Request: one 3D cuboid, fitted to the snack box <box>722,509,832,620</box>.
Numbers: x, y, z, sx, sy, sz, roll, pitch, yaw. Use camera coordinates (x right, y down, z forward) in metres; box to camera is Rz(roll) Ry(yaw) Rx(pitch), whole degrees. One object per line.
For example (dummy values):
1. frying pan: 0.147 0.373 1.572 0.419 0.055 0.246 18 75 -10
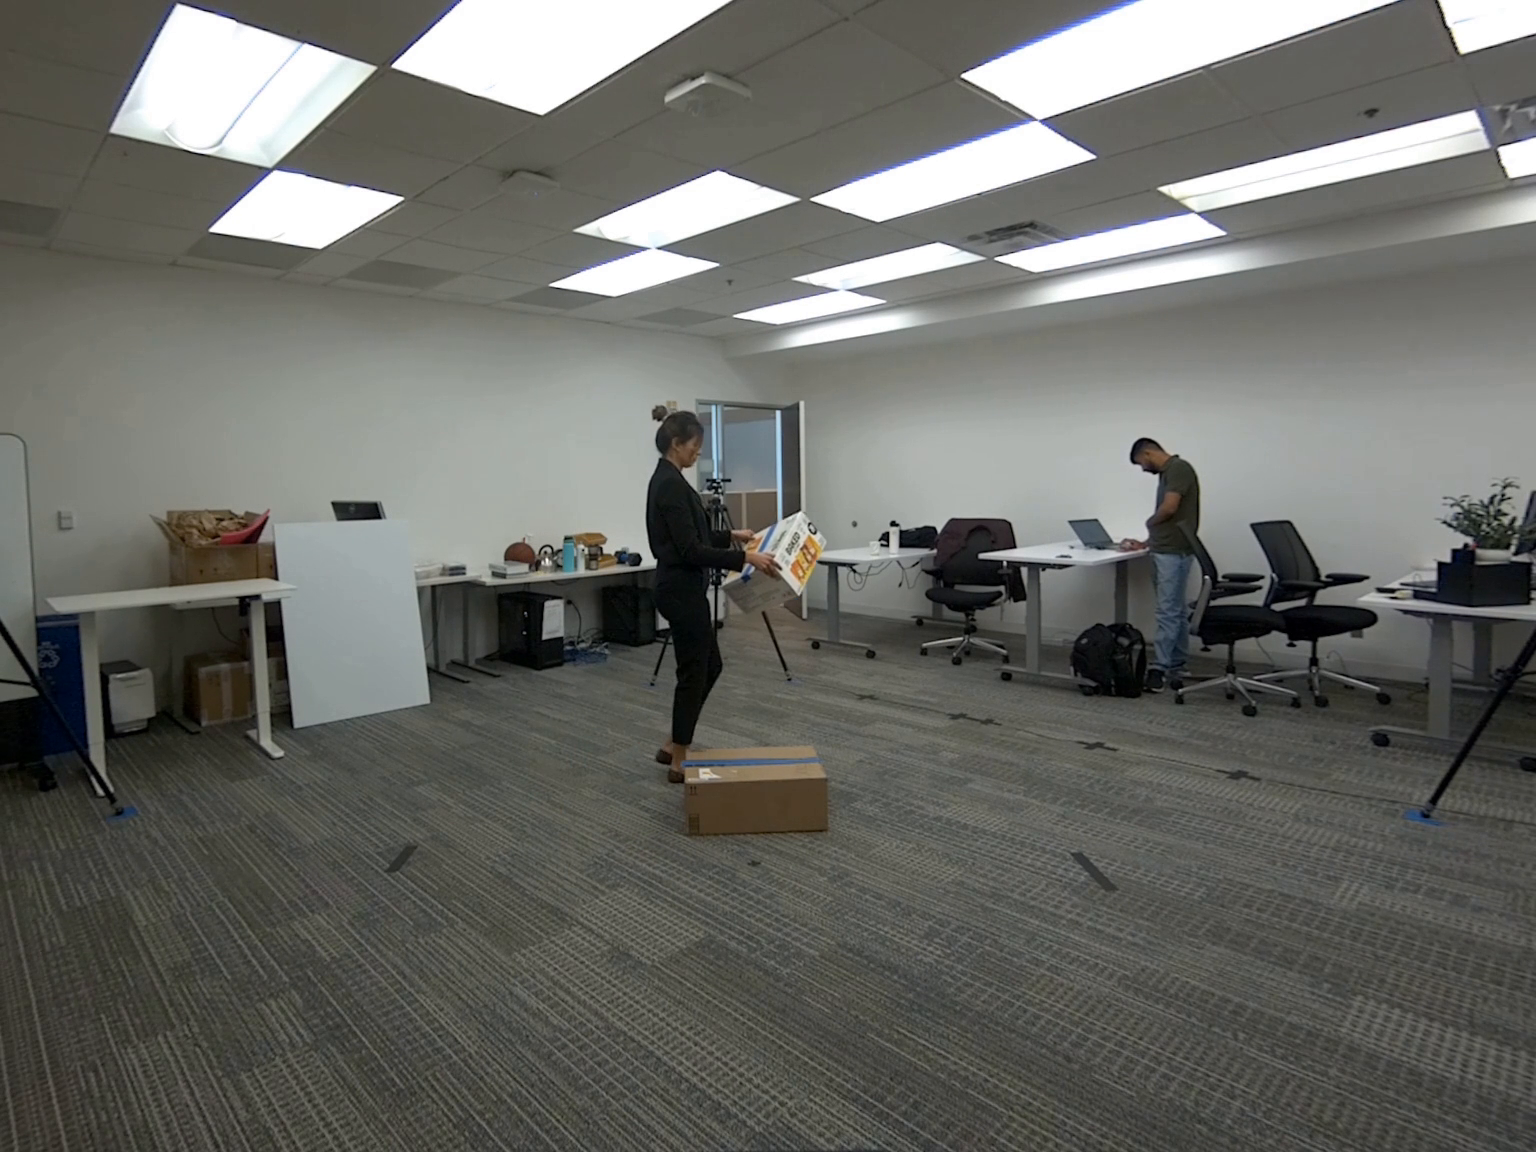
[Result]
1. snack box: 0.044 -0.057 3.981 0.345 0.201 0.408 -26 23 41
